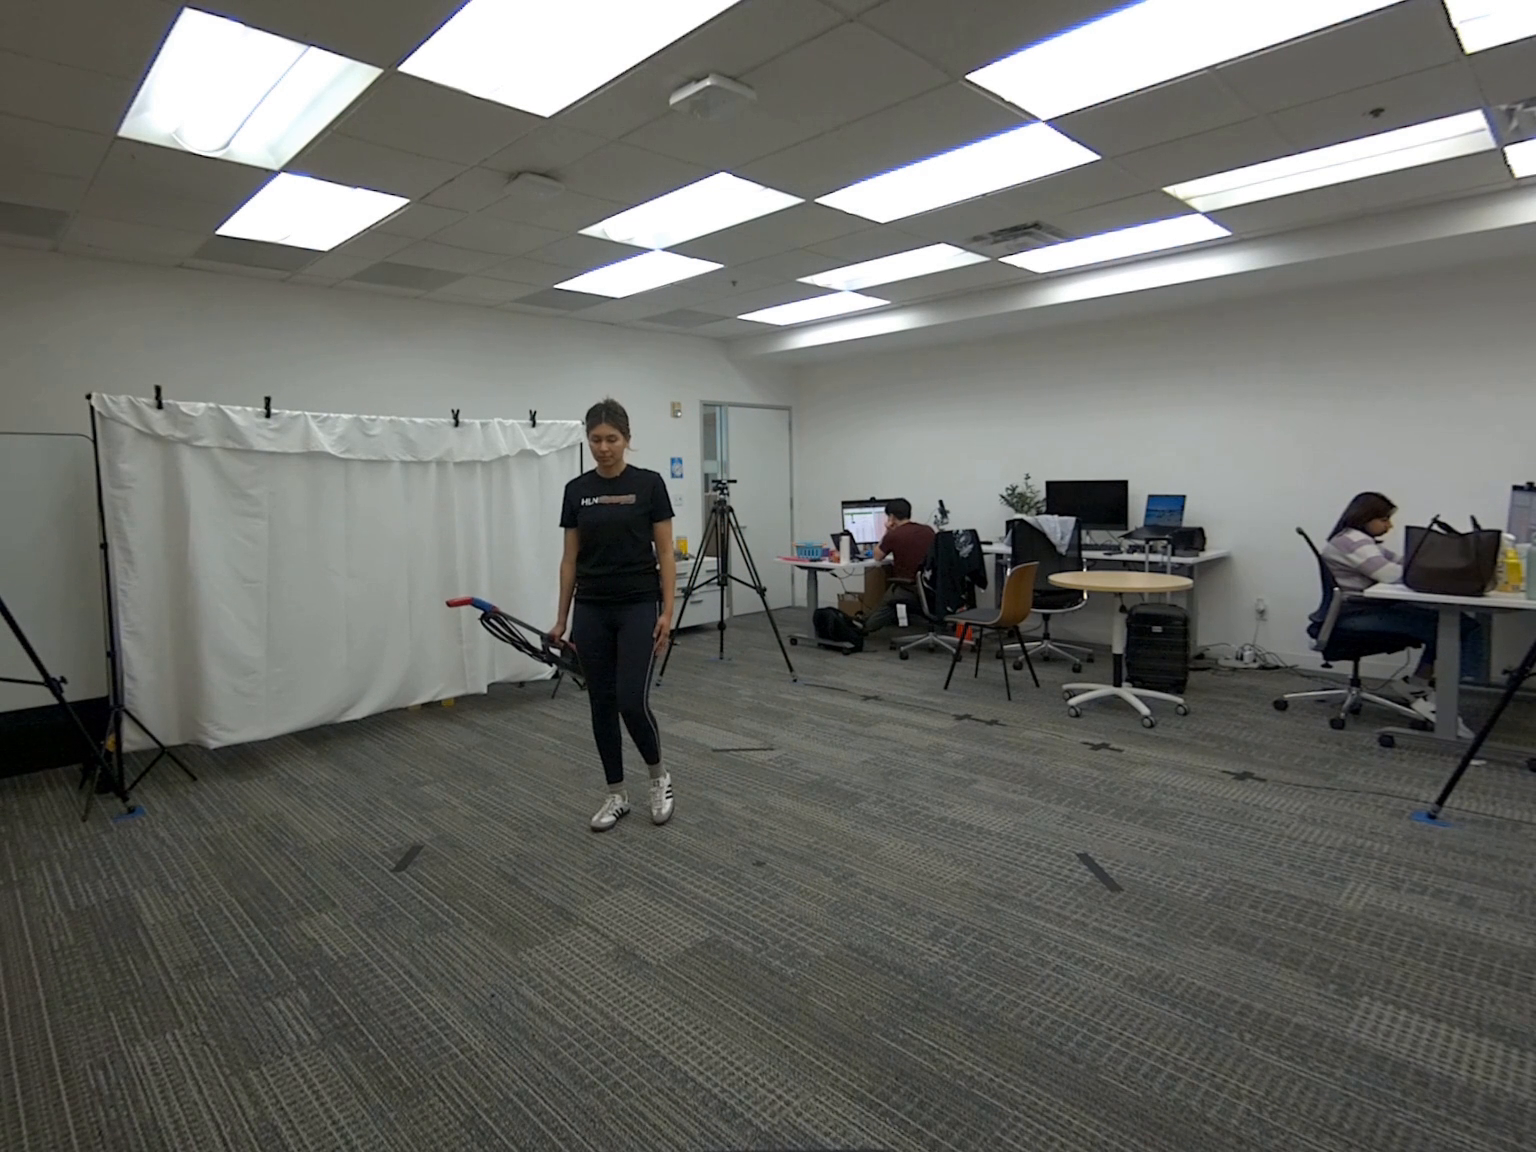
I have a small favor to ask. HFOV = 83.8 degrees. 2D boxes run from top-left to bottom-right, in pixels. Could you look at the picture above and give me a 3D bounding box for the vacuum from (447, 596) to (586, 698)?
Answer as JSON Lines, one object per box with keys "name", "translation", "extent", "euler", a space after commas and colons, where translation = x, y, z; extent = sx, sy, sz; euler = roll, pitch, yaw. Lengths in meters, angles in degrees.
{"name": "vacuum", "translation": [-0.942, 0.278, 3.479], "extent": [0.258, 0.146, 1.011], "euler": [0, -21, 25]}
